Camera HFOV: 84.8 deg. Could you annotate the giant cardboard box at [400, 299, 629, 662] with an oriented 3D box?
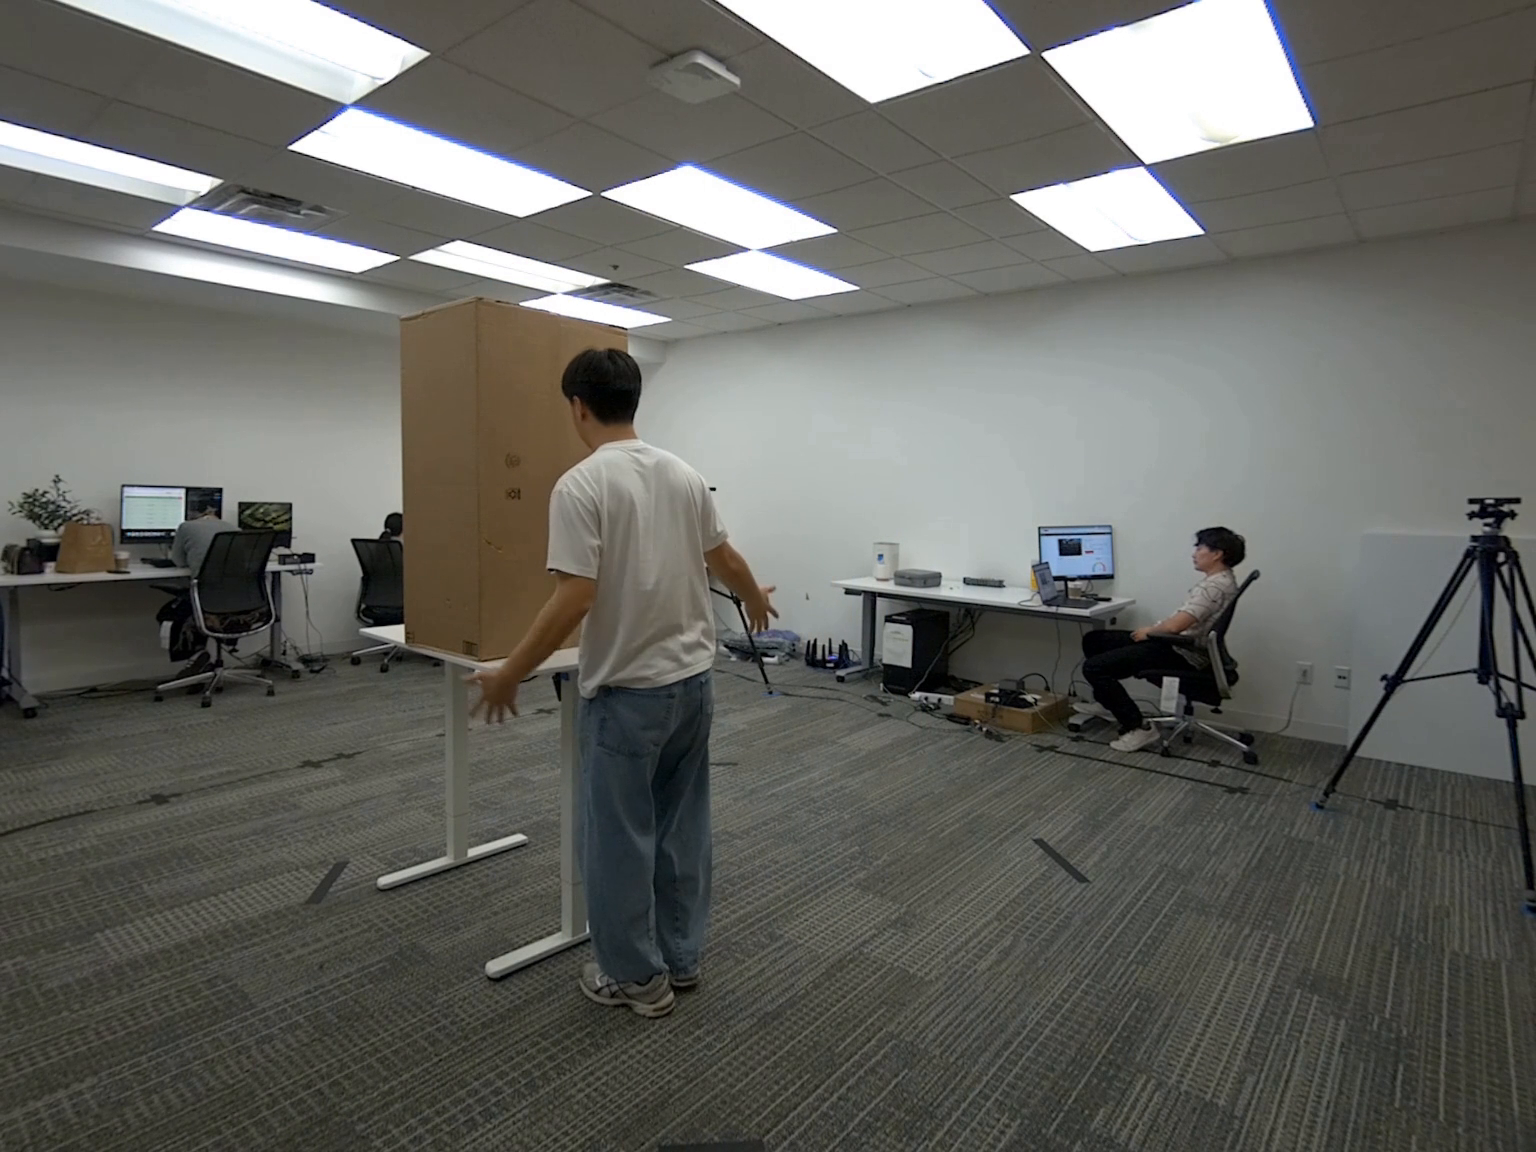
[{"bbox_3d":[-0.814,-0.296,2.721,0.440,1.023,0.560,2,4,40],"label":"giant cardboard box"}]
